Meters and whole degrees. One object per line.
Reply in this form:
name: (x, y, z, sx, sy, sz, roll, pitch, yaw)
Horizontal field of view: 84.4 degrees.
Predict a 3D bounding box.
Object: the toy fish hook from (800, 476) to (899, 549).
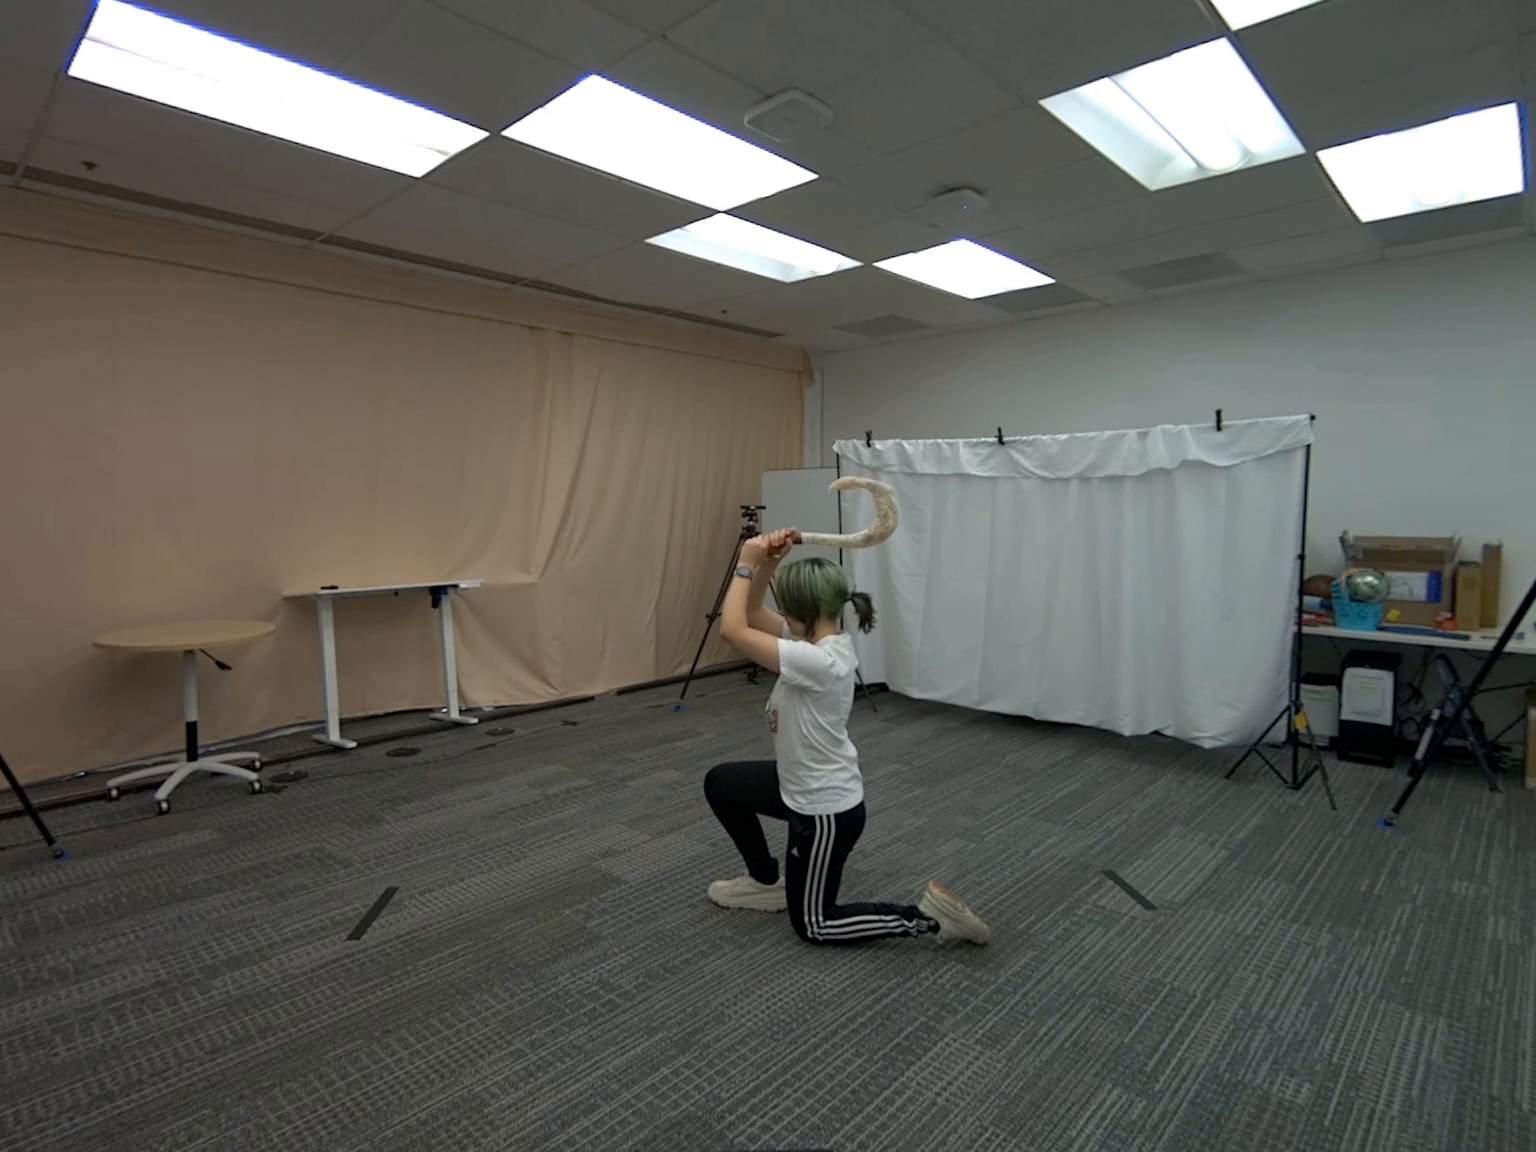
toy fish hook: (0.147, -0.180, 2.627, 0.511, 0.225, 0.048, -9, -2, 10)
